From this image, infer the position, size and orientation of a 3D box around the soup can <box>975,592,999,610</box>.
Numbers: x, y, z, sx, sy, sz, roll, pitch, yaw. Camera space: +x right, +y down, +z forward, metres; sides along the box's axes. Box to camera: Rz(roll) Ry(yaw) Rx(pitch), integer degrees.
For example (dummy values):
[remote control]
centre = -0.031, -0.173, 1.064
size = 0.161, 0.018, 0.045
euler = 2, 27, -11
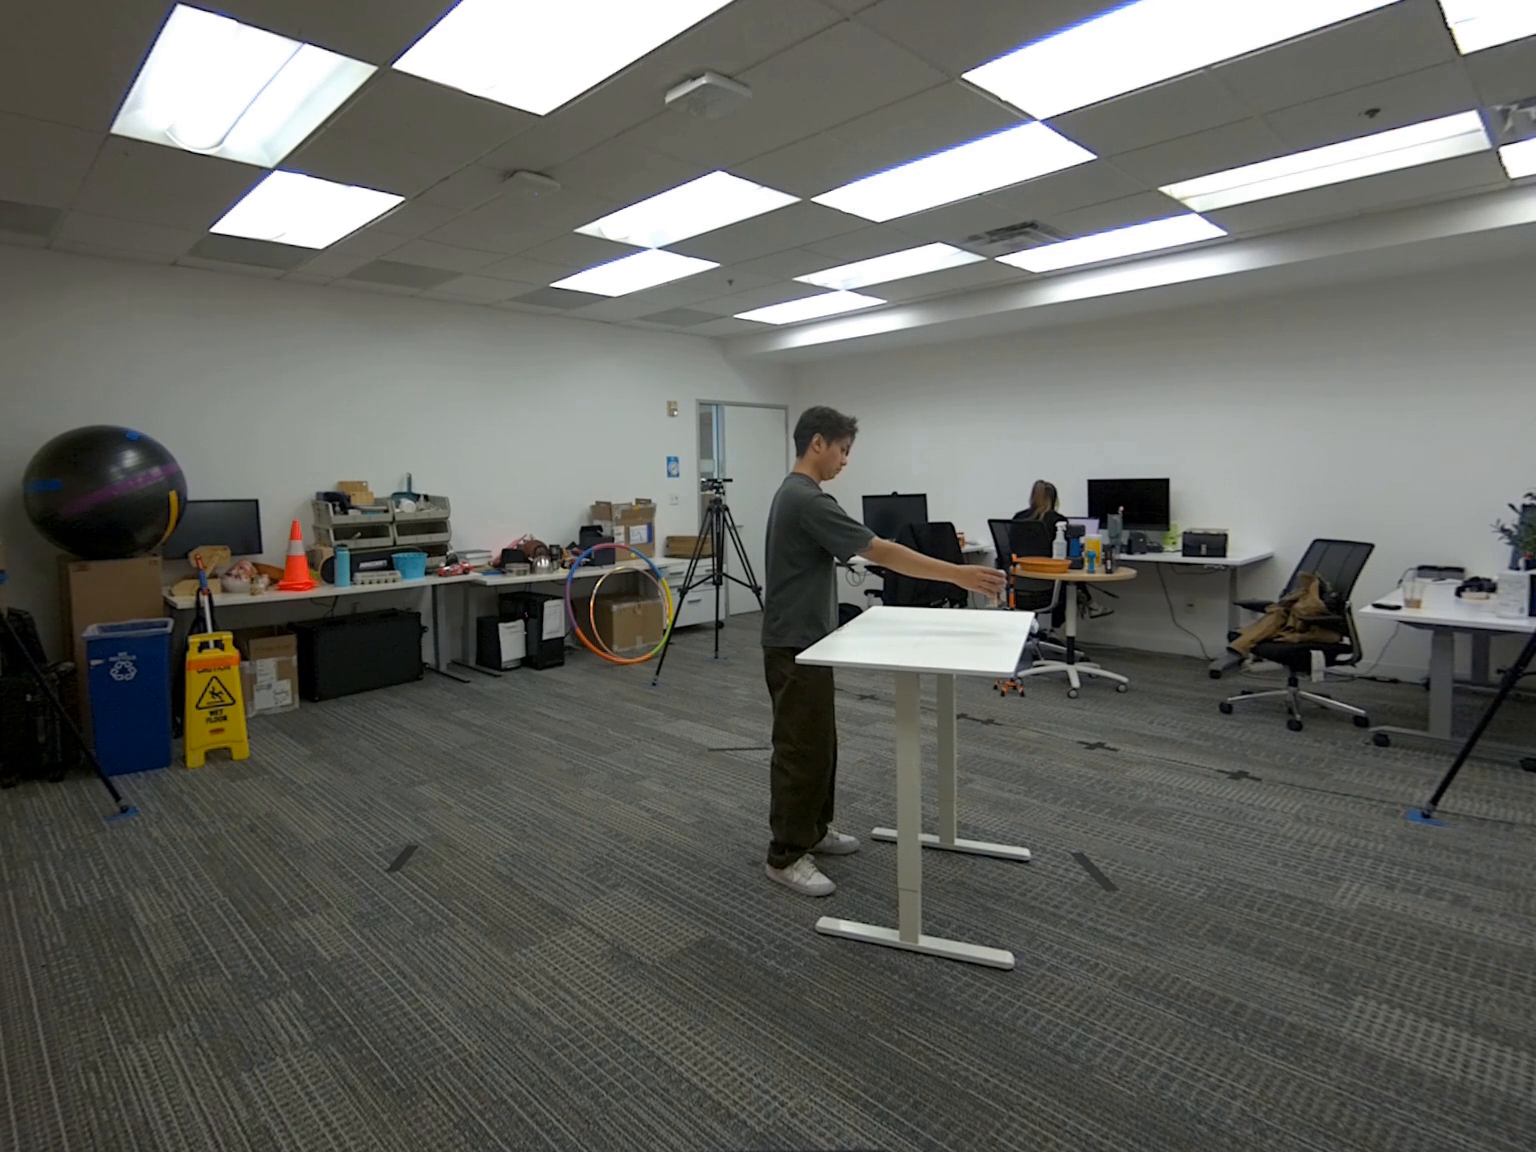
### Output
[soup can]
centre = 0.738, 0.045, 2.749
size = 0.067, 0.122, 0.067
euler = -3, -1, -2
